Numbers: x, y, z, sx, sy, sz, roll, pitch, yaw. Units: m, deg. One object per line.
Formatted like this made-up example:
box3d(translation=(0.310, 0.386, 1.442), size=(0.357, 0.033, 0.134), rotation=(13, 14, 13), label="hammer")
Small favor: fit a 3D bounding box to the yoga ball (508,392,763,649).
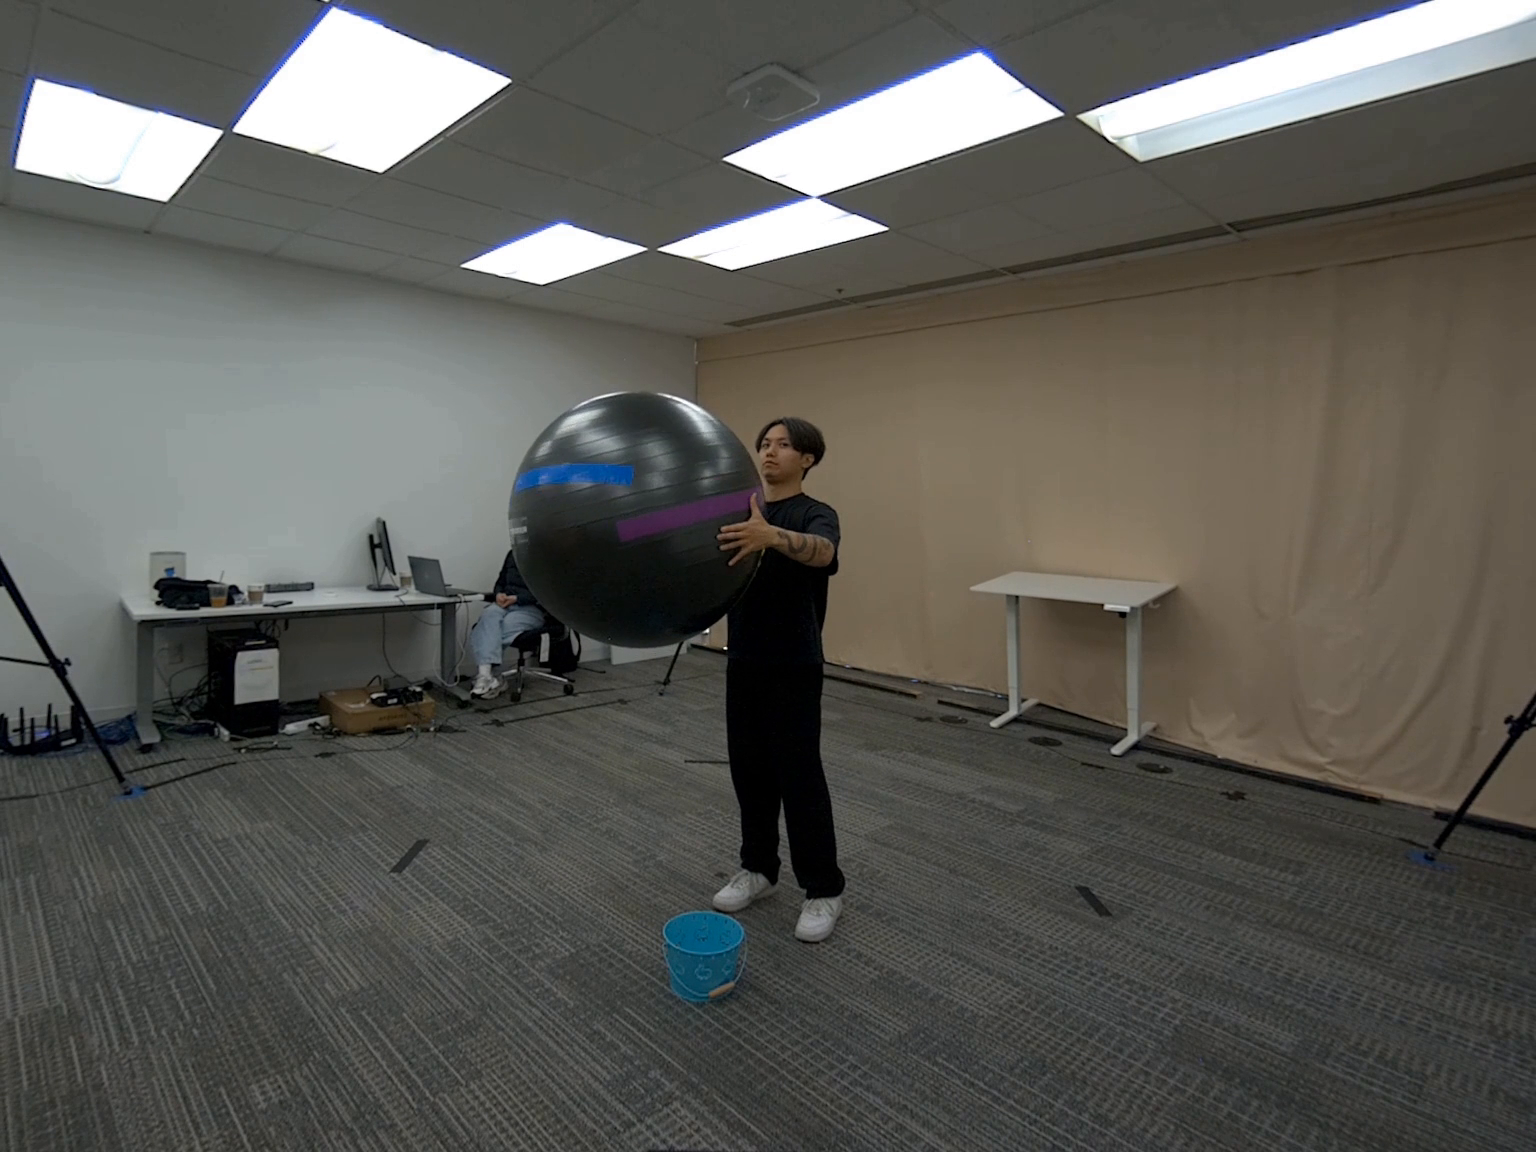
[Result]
box3d(translation=(-0.388, -0.159, 2.500), size=(0.757, 0.756, 0.761), rotation=(1, 4, -1), label="yoga ball")
